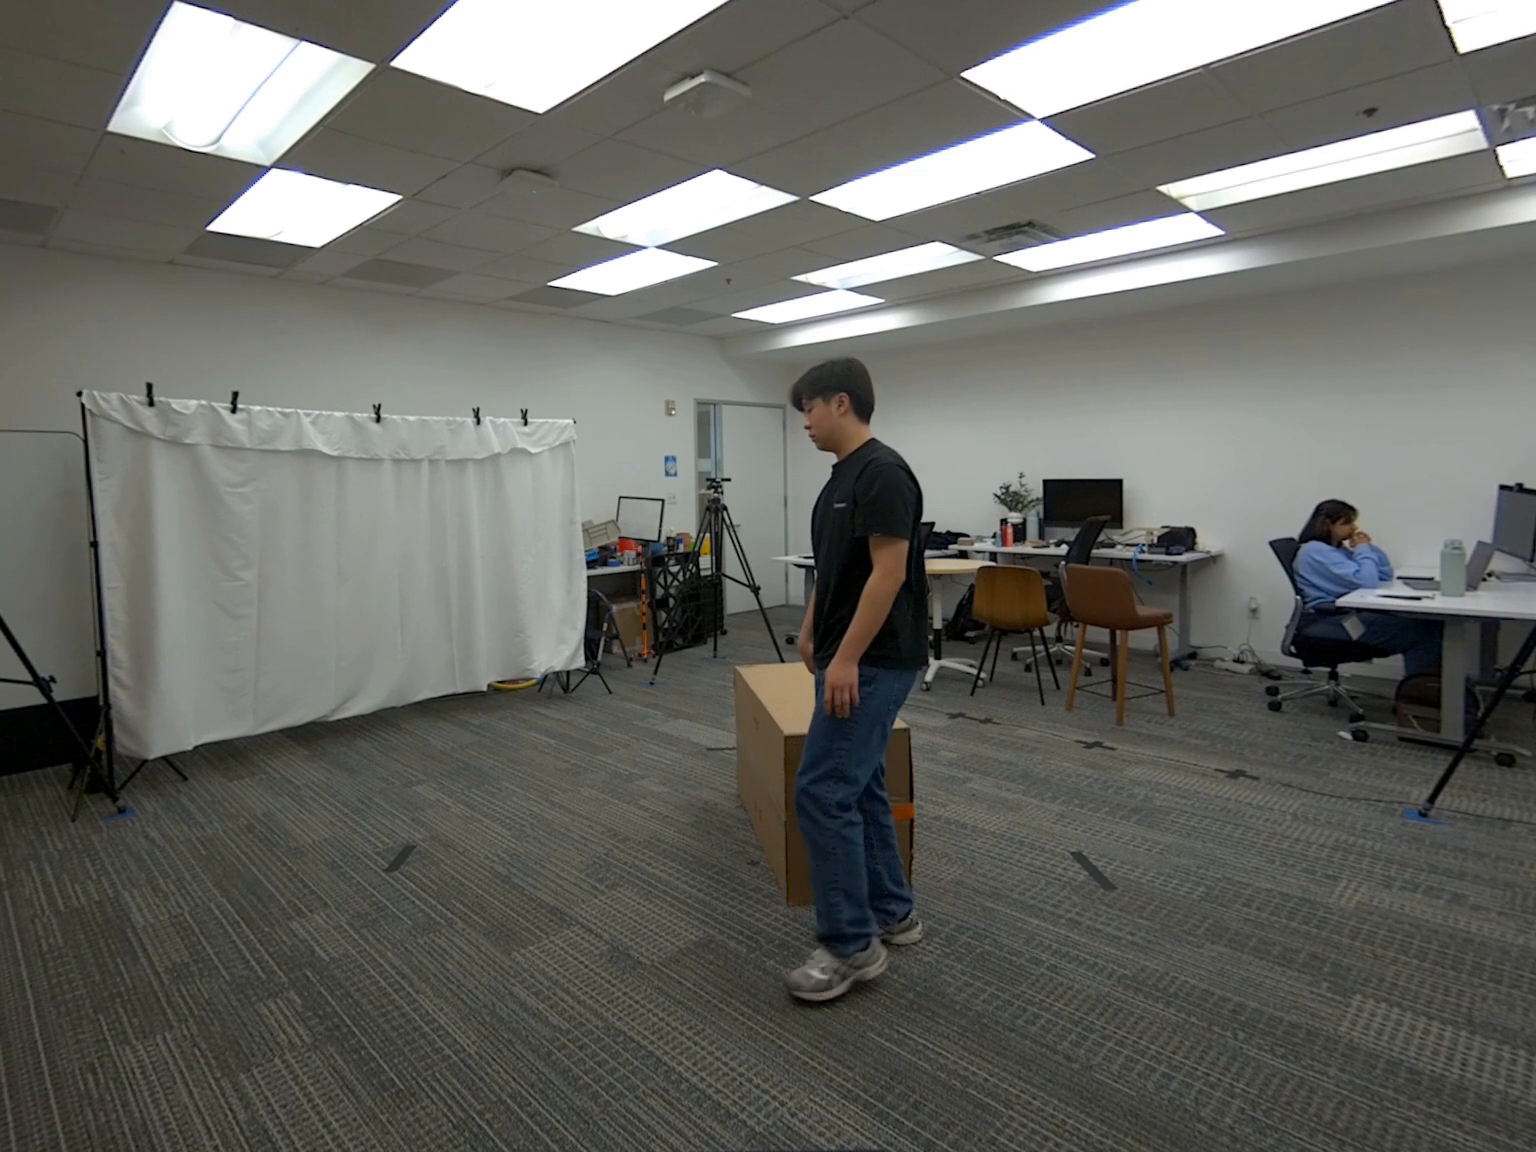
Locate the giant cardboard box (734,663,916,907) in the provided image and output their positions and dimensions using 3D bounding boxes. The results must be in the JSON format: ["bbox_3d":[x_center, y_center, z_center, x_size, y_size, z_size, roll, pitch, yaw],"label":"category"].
[{"bbox_3d":[0.173,0.728,3.296,0.442,0.581,1.042,-1,6,-11],"label":"giant cardboard box"}]
